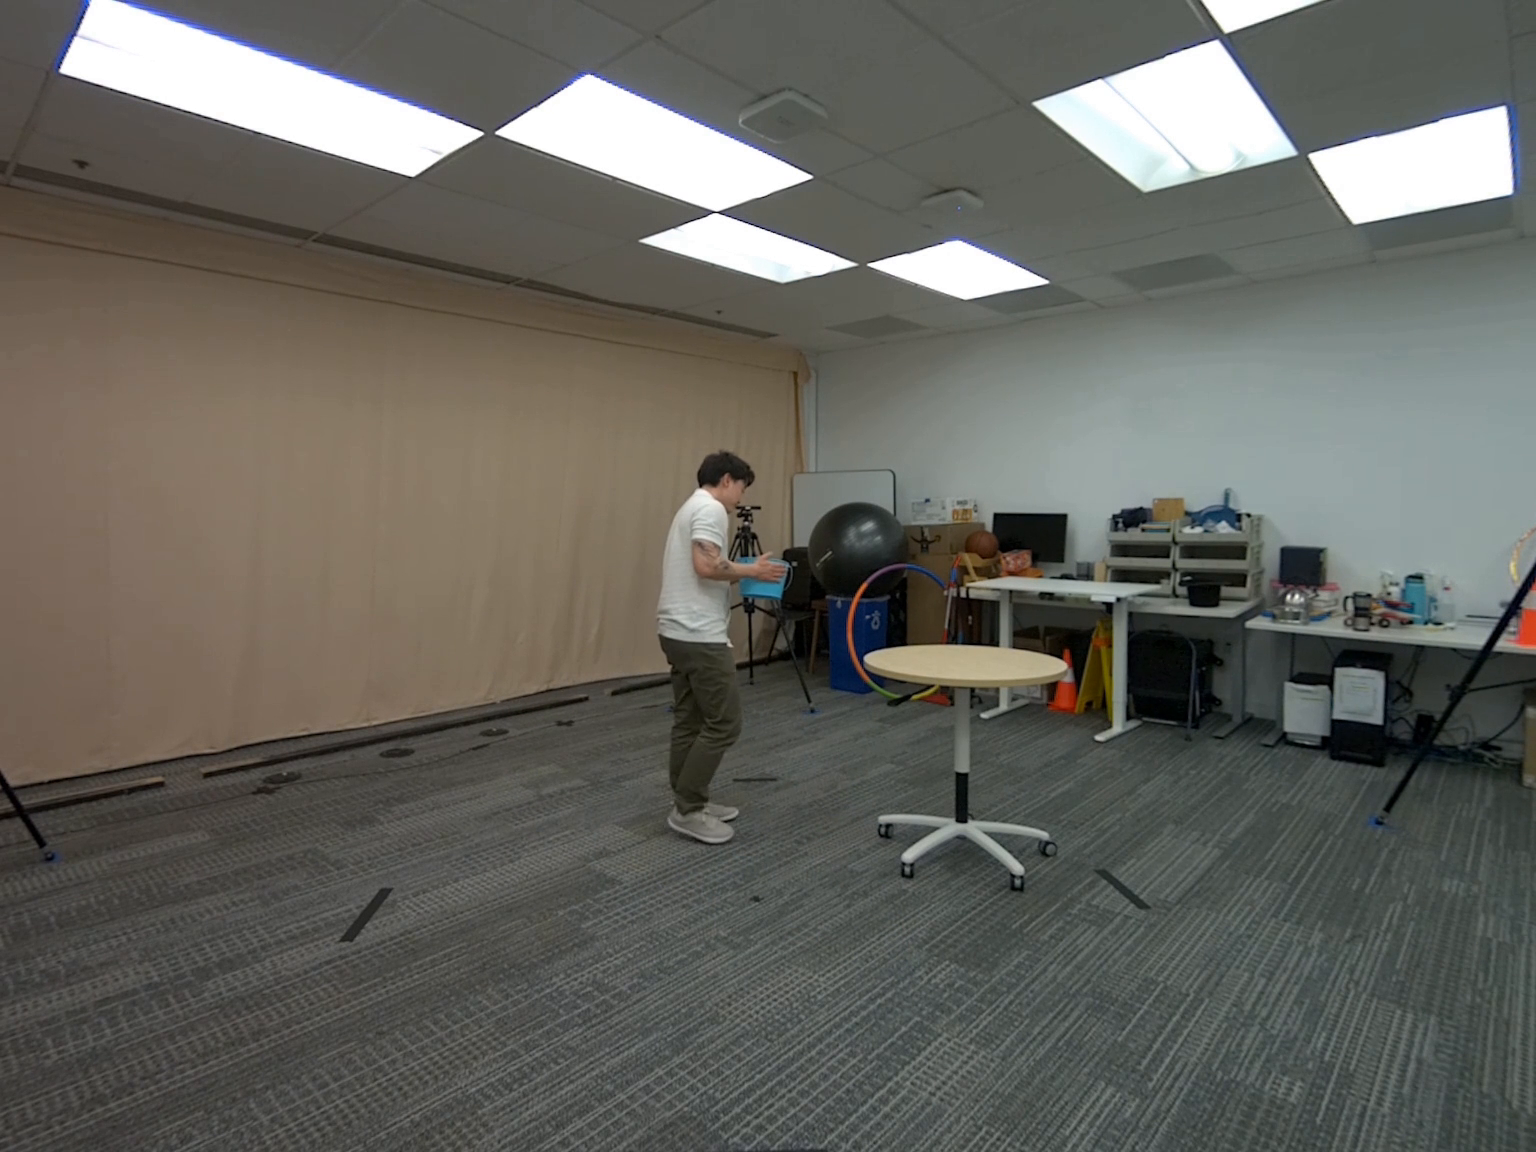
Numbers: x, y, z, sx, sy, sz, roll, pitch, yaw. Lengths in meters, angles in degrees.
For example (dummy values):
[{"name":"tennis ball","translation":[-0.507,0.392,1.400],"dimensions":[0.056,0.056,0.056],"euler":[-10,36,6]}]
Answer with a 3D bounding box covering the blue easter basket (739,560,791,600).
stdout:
[{"name":"blue easter basket","translation":[-0.021,0.017,3.638],"dimensions":[0.243,0.156,0.243],"euler":[6,-6,-1]}]
